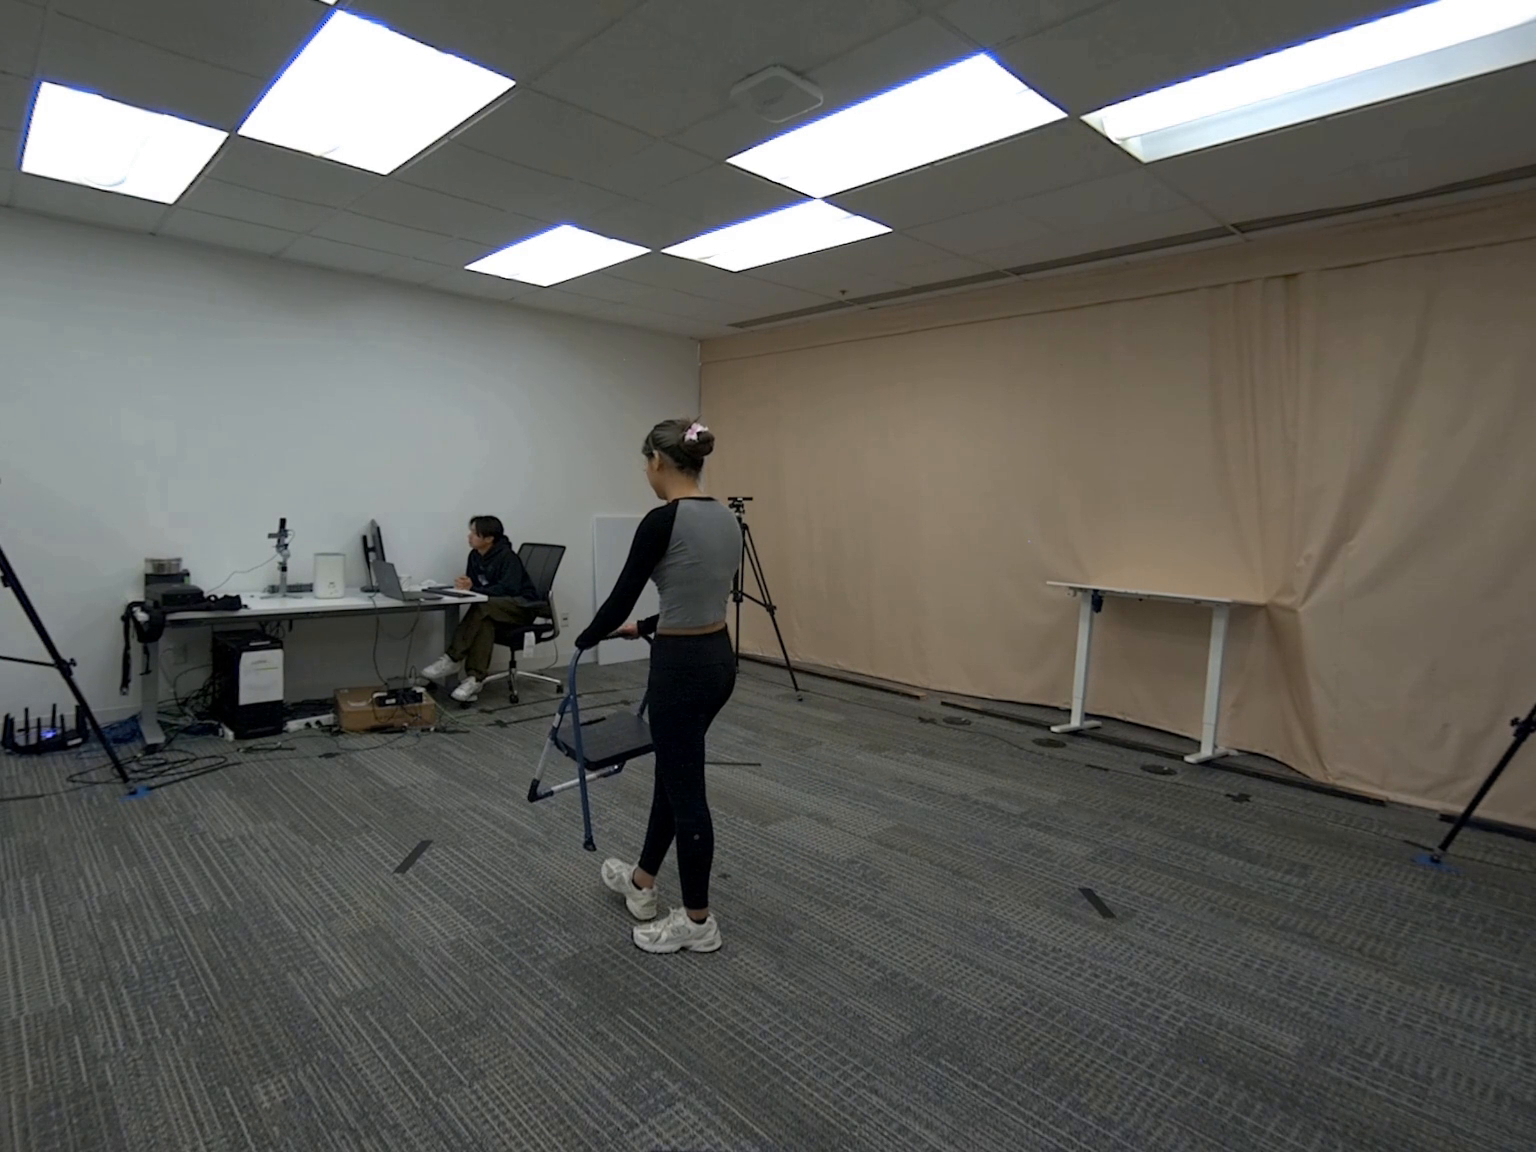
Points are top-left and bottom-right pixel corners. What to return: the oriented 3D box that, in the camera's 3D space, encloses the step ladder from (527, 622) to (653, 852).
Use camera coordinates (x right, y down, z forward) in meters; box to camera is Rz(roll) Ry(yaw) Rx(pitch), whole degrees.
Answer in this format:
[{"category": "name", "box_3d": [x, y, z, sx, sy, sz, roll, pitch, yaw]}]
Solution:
[{"category": "step ladder", "box_3d": [-0.509, 0.503, 2.817, 0.359, 0.602, 0.421, 18, 14, 36]}]
